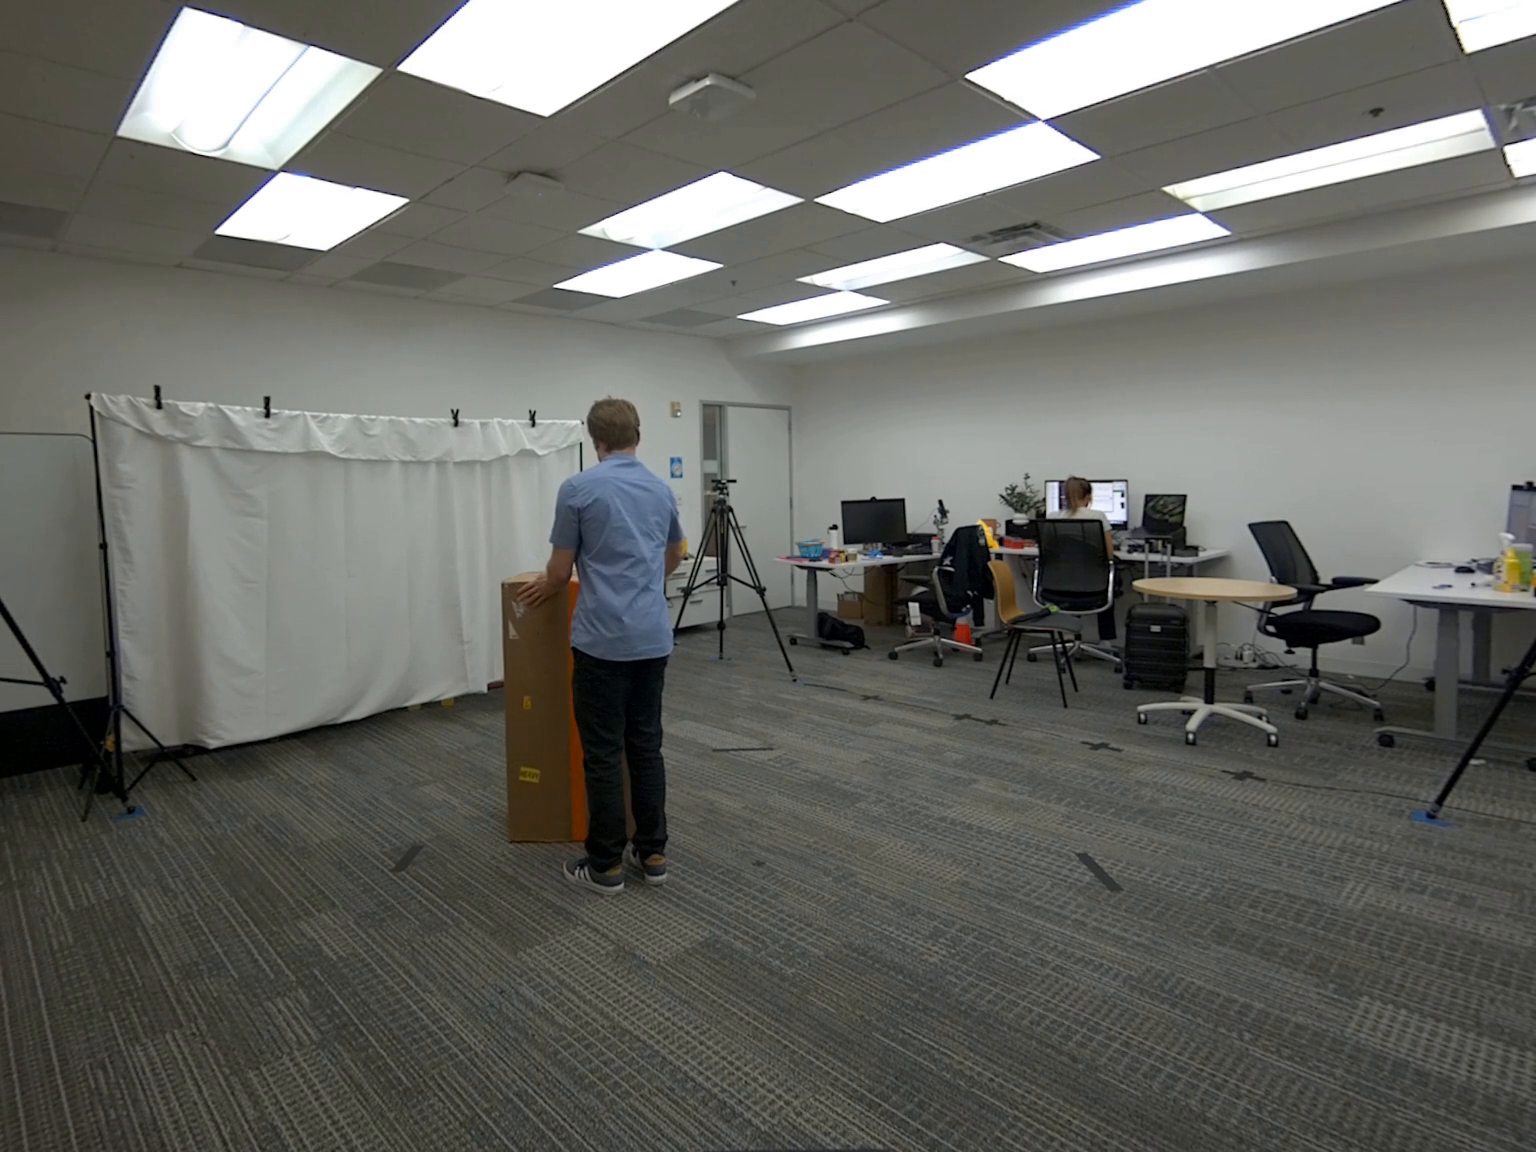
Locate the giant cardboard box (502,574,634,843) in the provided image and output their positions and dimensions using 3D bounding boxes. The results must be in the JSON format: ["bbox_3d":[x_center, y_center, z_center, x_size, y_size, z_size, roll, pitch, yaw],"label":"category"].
[{"bbox_3d":[-0.751,0.507,3.523,0.577,1.023,0.428,0,3,-1],"label":"giant cardboard box"}]
